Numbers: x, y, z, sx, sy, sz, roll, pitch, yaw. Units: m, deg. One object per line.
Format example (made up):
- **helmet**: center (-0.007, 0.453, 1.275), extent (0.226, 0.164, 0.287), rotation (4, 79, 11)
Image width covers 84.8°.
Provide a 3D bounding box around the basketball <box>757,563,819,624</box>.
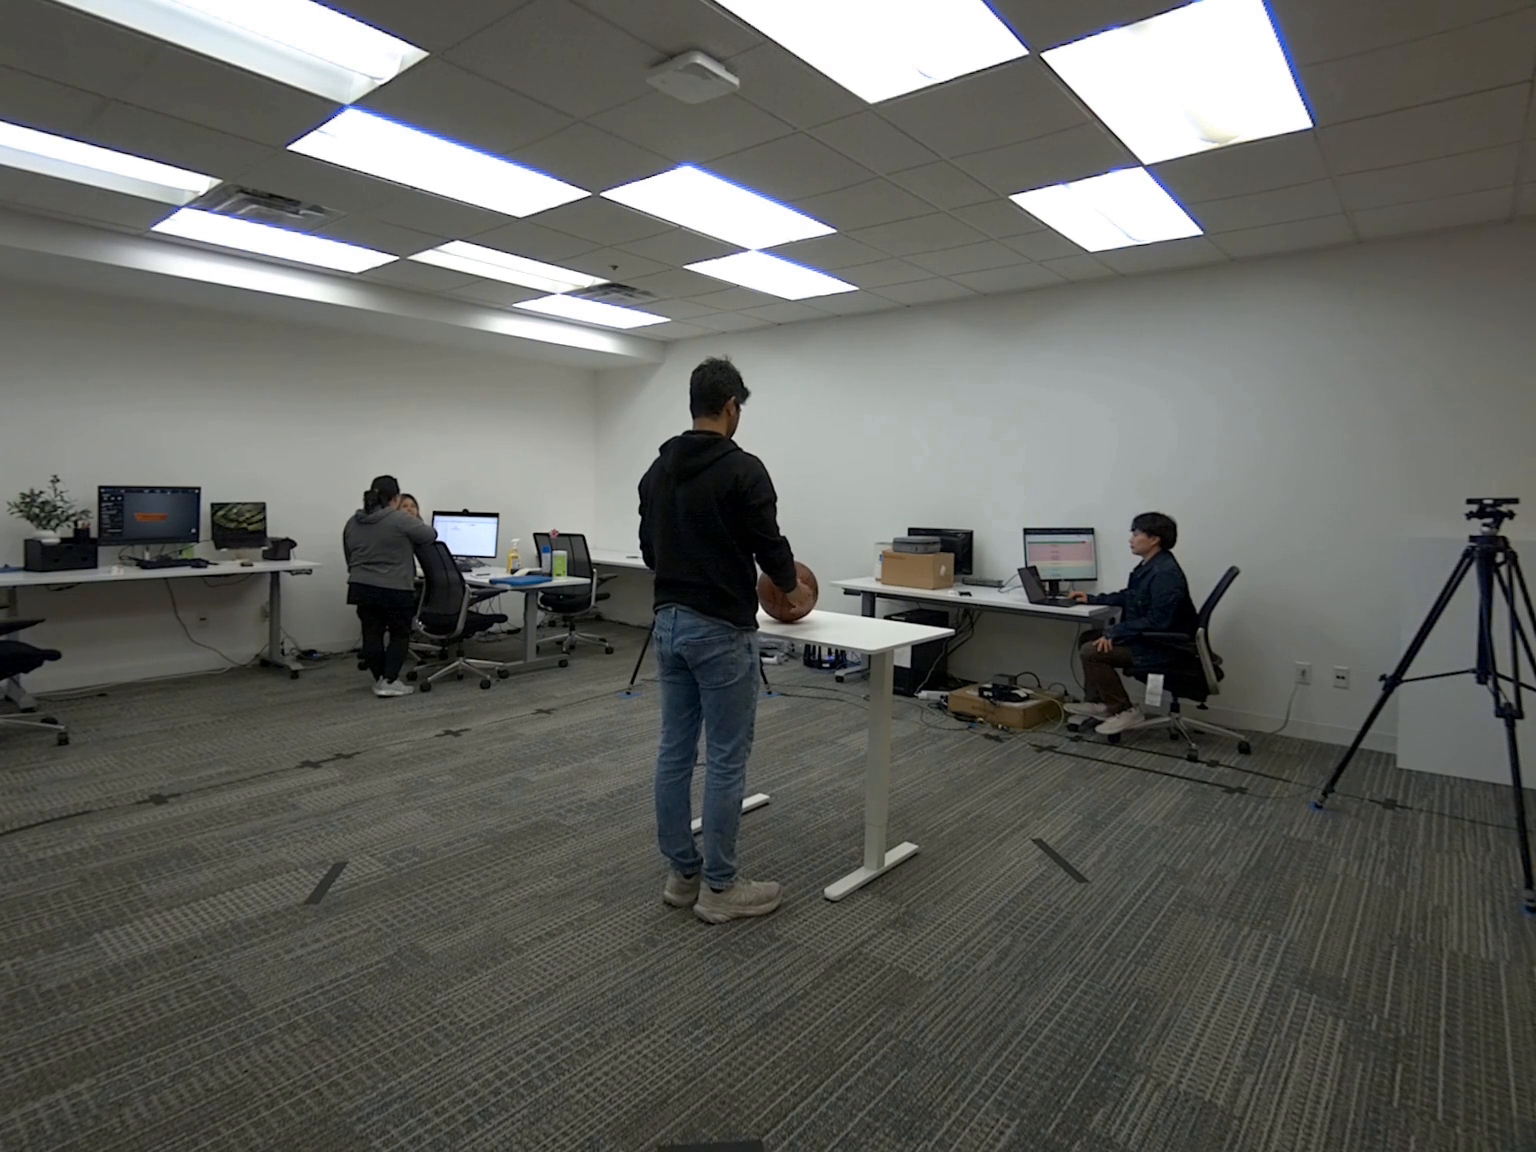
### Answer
- **basketball**: center (0.067, 0.053, 3.275), extent (0.235, 0.235, 0.237), rotation (1, 4, -2)
